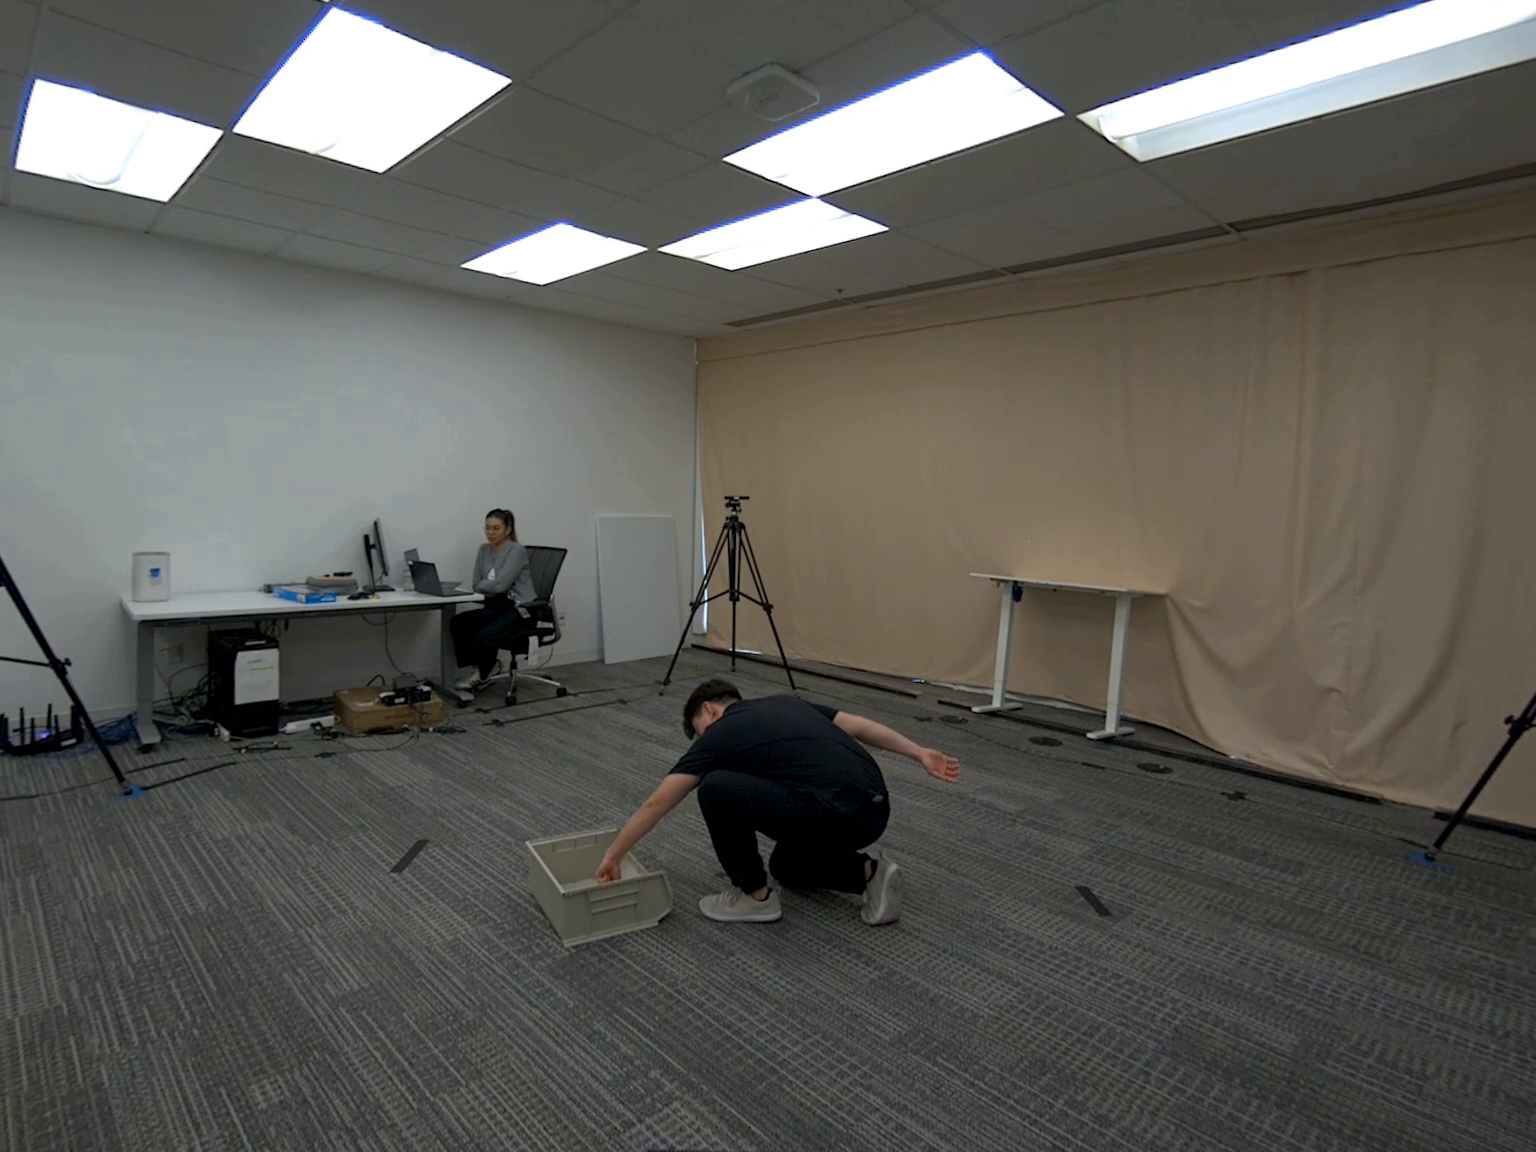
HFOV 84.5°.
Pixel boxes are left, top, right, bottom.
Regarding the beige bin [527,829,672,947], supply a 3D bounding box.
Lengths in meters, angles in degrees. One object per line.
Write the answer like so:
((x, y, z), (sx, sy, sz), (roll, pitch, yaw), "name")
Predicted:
((-0.576, 1.024, 2.839), (0.370, 0.188, 0.432), (-2, 7, -30), "beige bin")
